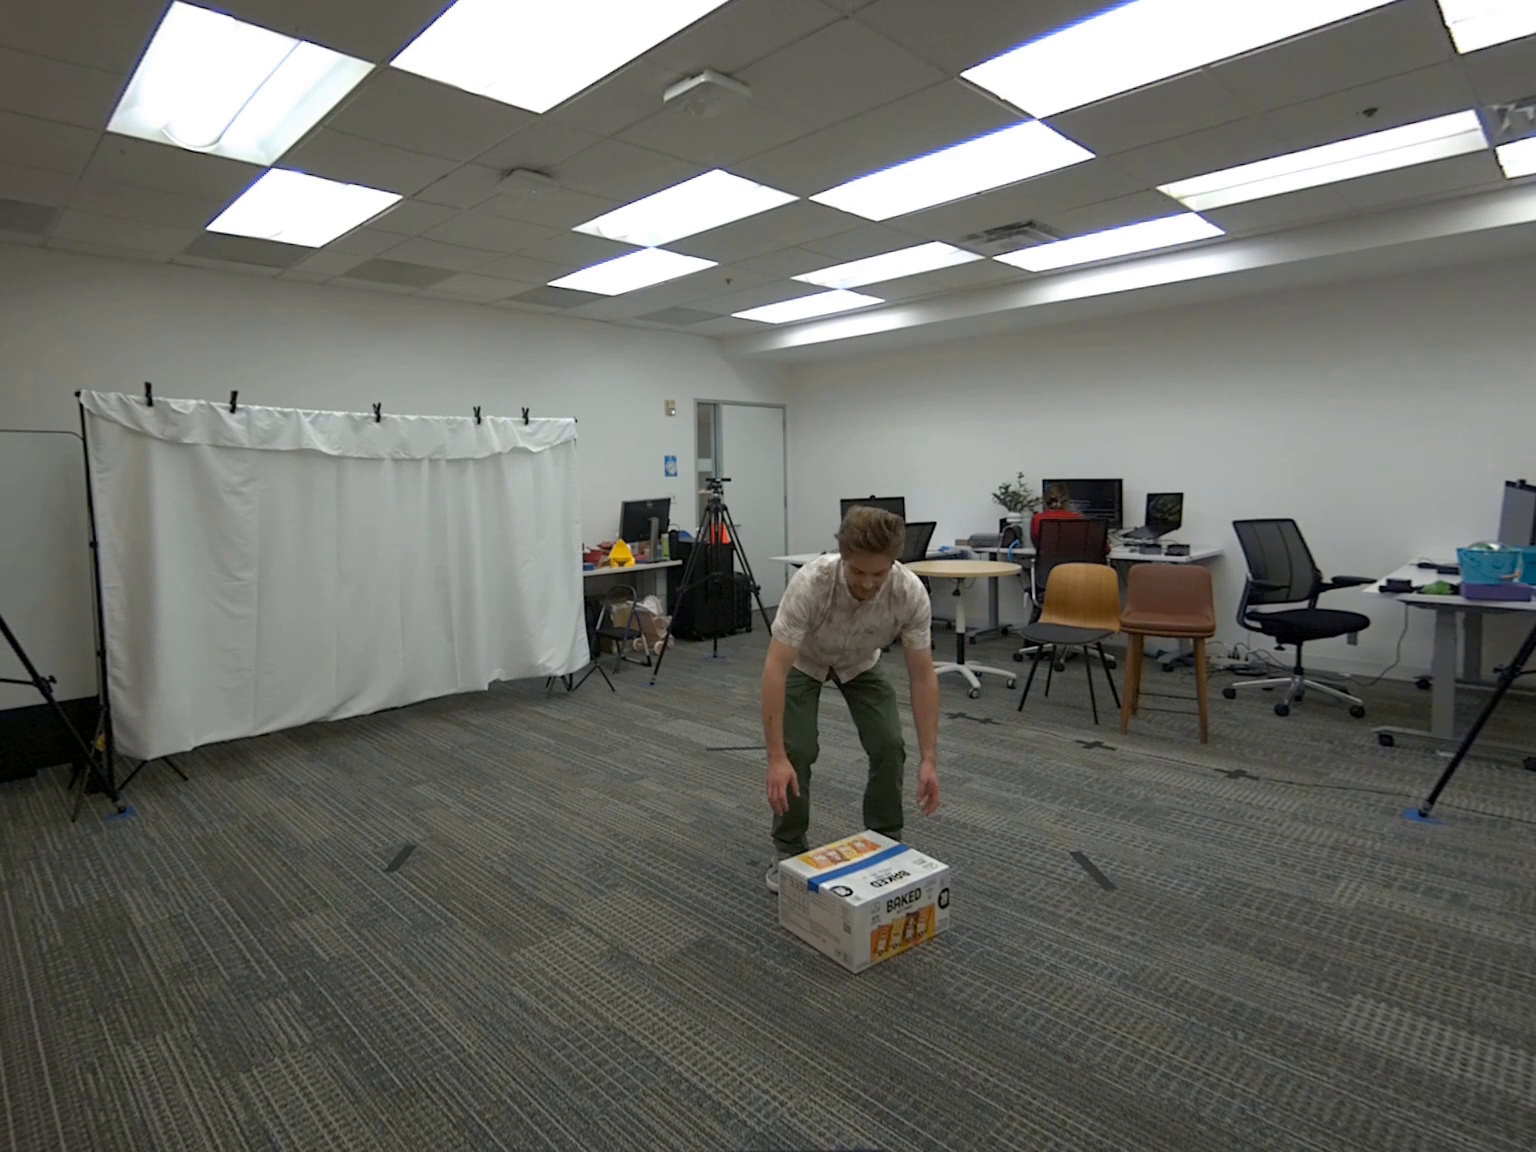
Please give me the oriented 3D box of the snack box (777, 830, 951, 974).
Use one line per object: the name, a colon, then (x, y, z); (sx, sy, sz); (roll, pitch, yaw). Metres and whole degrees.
snack box: (0.301, 0.990, 2.636); (0.395, 0.205, 0.350); (-6, 7, -37)
